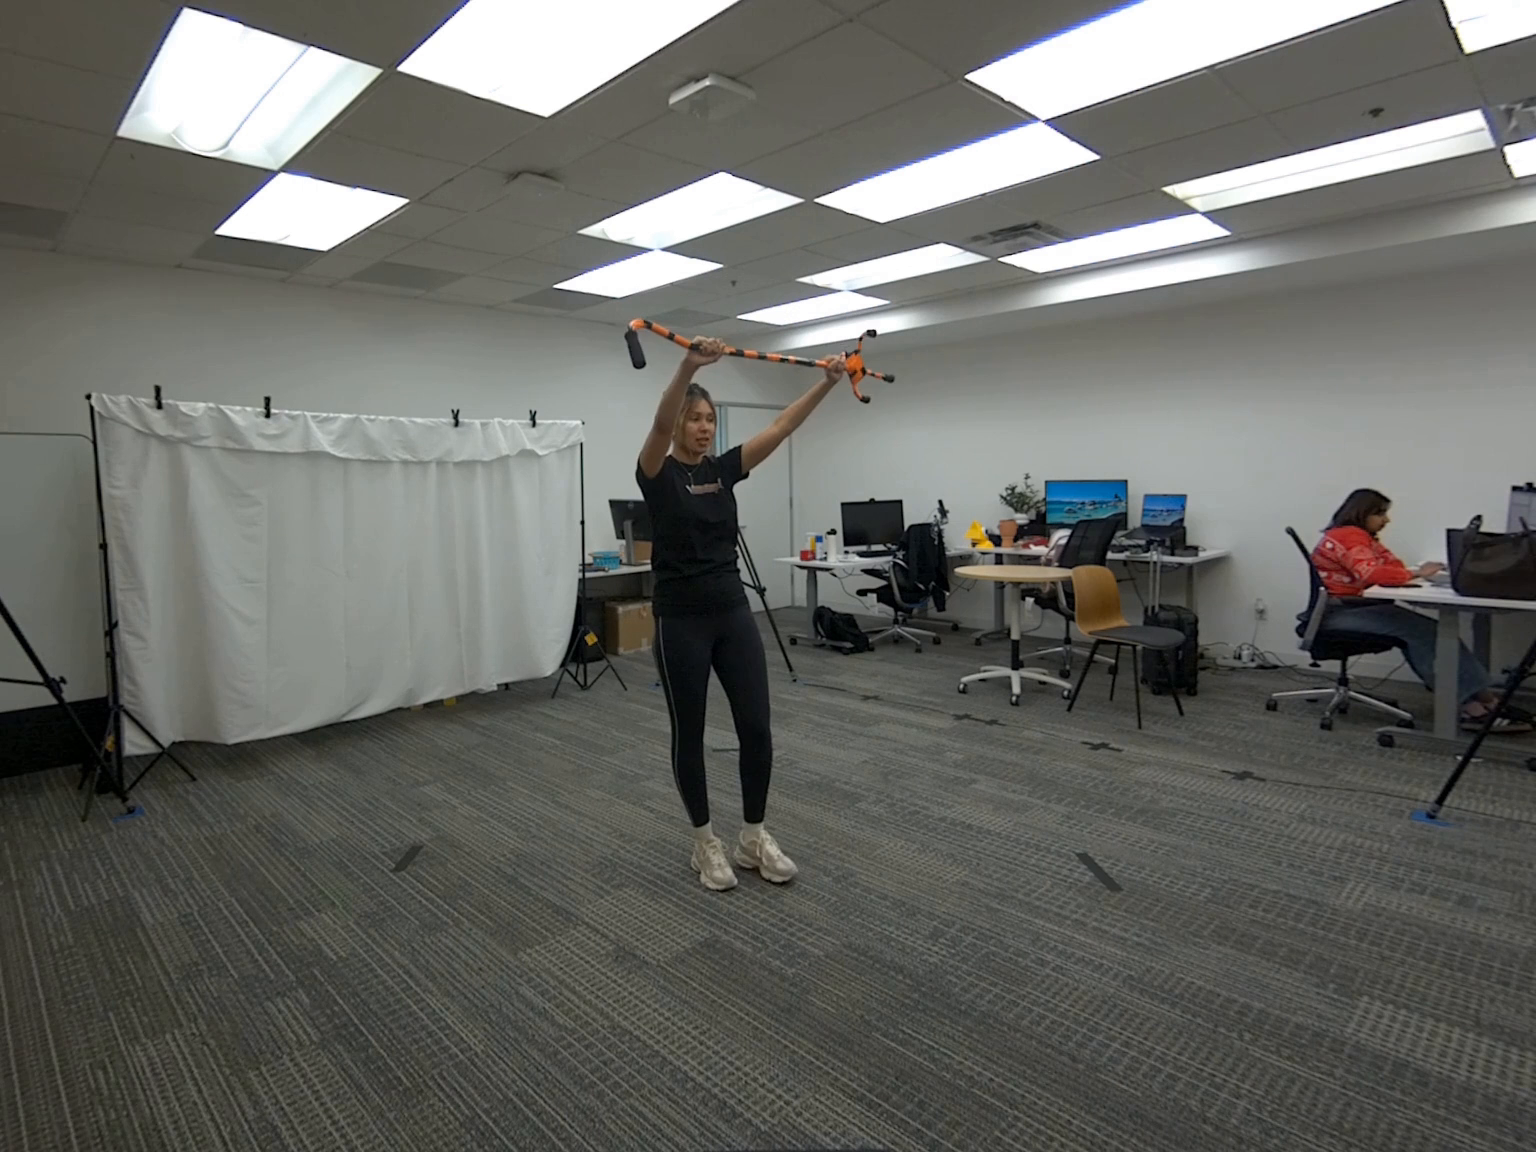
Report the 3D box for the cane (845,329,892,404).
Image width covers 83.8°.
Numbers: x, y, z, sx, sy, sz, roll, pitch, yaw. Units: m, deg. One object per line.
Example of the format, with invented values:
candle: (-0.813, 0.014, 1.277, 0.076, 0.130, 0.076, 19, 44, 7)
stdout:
cane: (-0.023, -0.673, 2.564, 0.884, 0.211, 0.152, -3, -25, -35)
